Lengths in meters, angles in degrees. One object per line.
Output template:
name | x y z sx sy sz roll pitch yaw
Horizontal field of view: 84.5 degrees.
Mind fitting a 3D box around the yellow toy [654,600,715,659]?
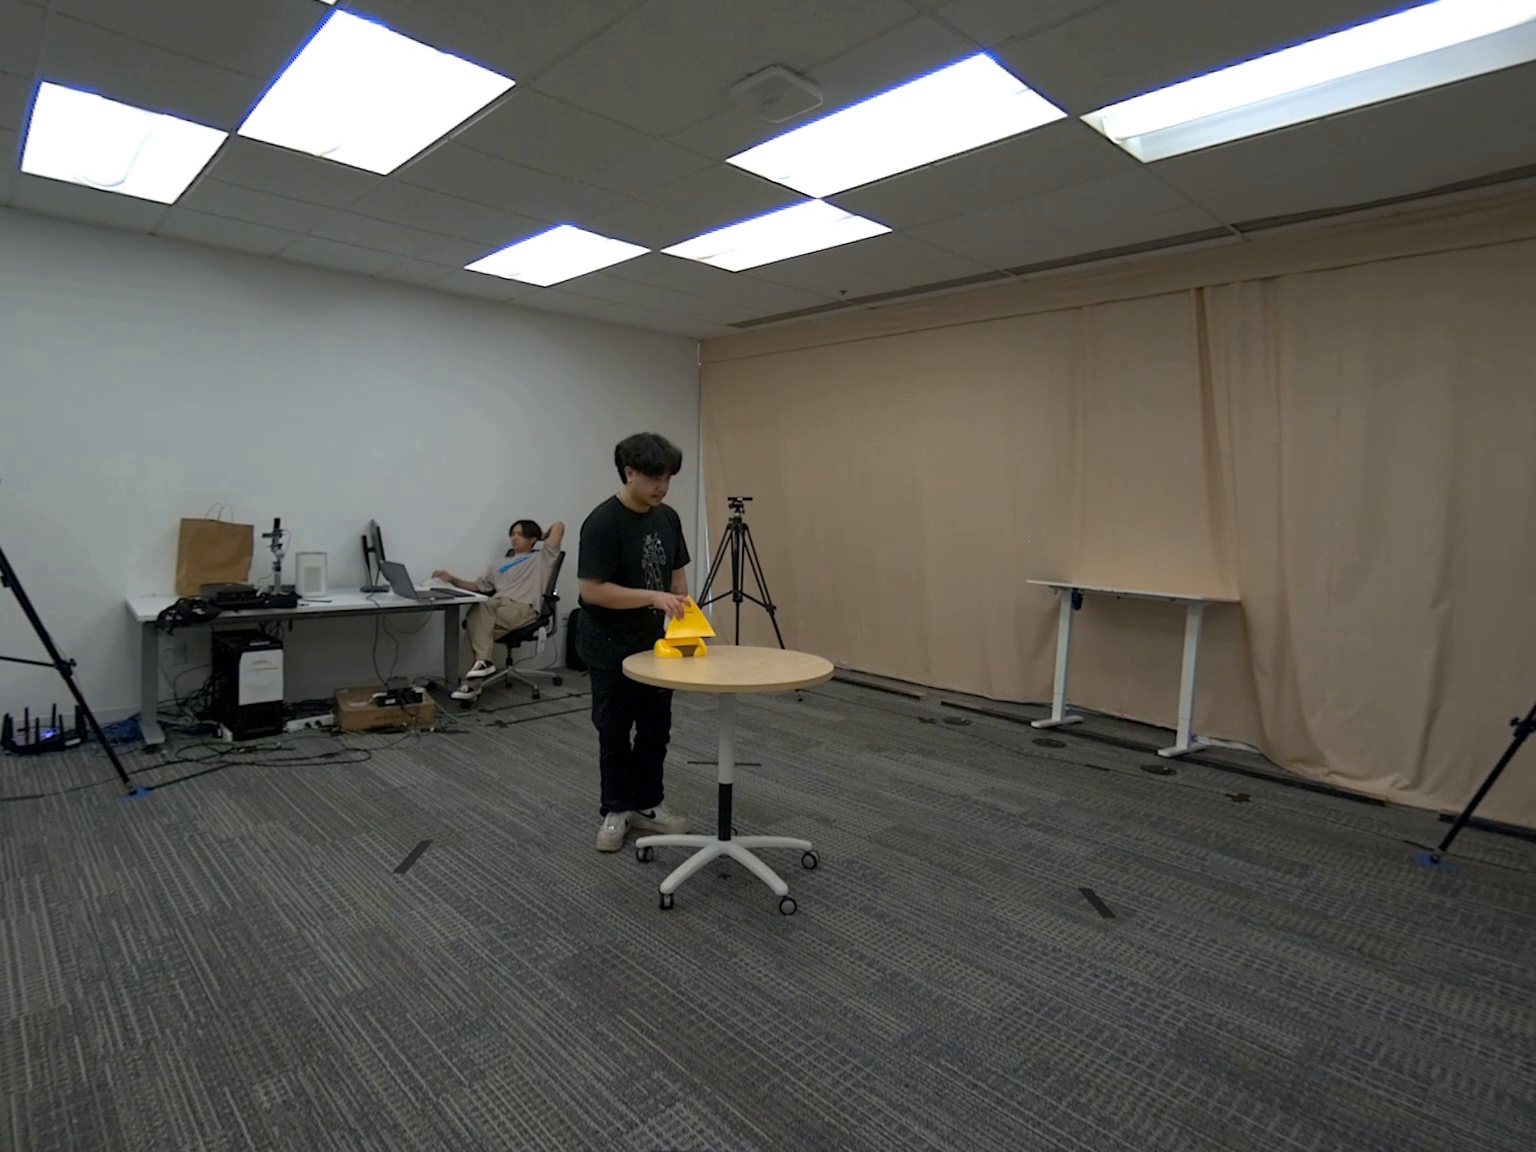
yellow toy | -0.342 0.187 3.232 0.201 0.230 0.197 -1 3 -27
